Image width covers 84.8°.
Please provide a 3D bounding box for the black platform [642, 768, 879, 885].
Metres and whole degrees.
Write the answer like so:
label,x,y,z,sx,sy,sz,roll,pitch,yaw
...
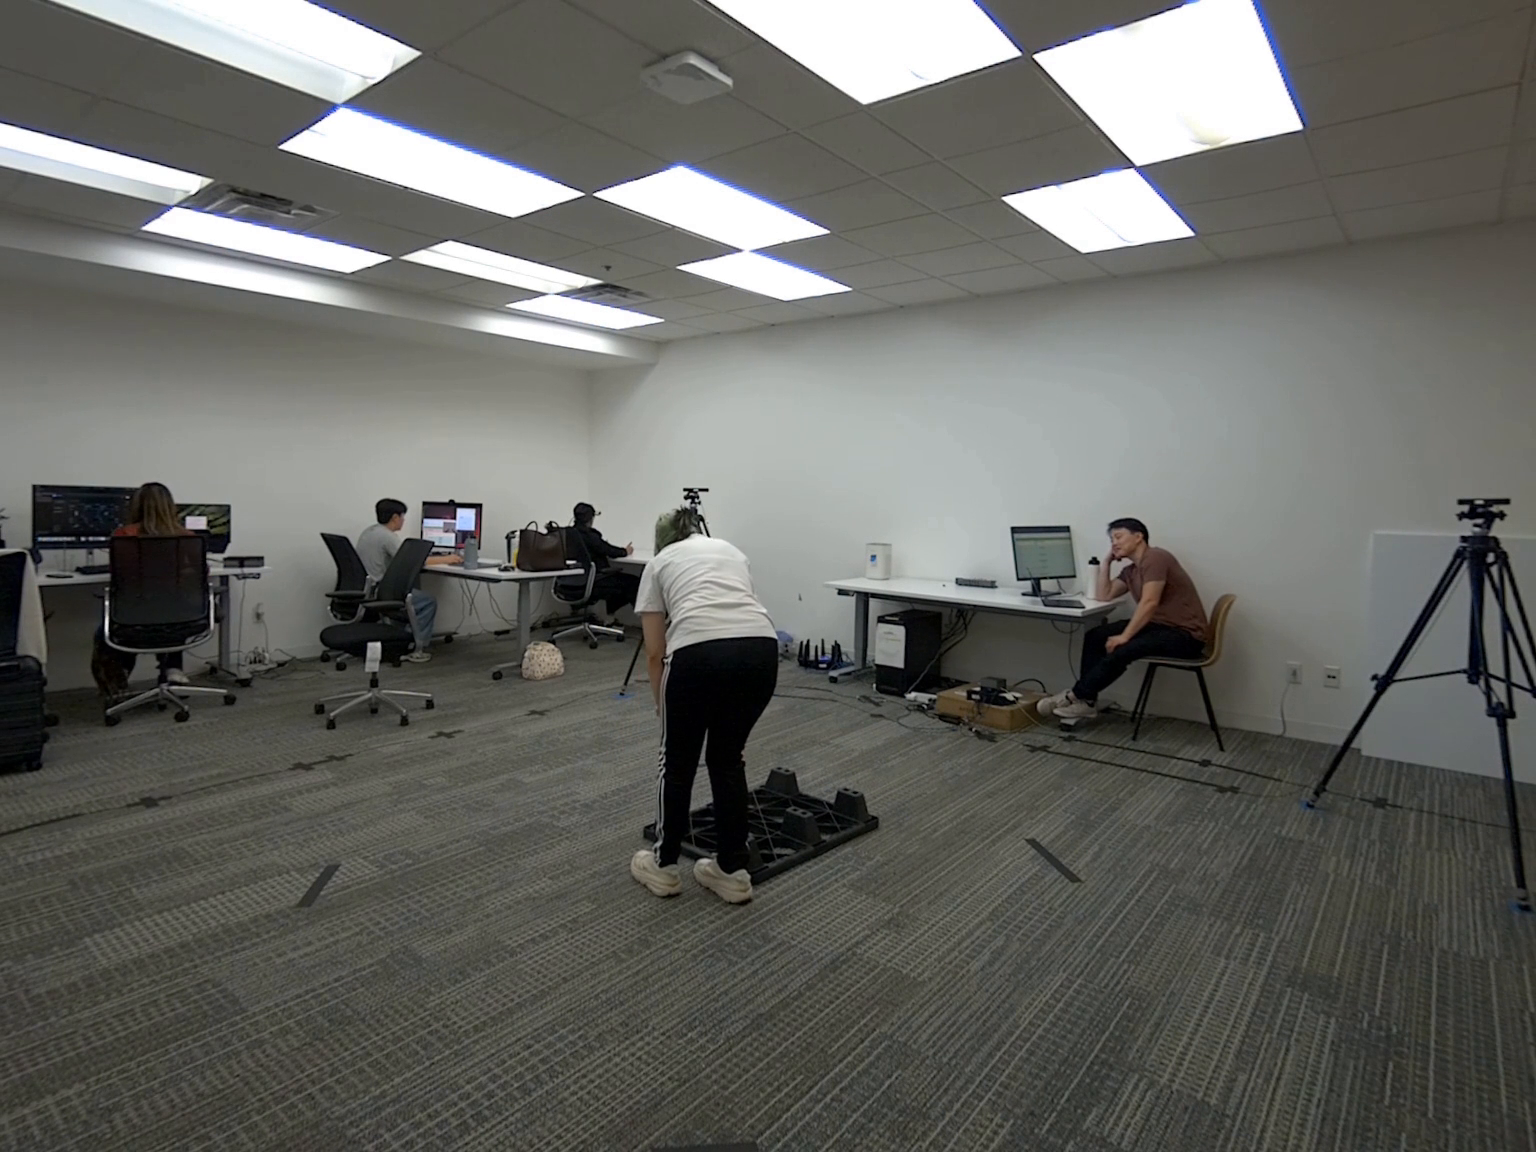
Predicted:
label,x,y,z,sx,sy,sz,roll,pitch,yaw
black platform,-0.026,0.974,3.454,0.626,0.143,0.782,5,7,42
